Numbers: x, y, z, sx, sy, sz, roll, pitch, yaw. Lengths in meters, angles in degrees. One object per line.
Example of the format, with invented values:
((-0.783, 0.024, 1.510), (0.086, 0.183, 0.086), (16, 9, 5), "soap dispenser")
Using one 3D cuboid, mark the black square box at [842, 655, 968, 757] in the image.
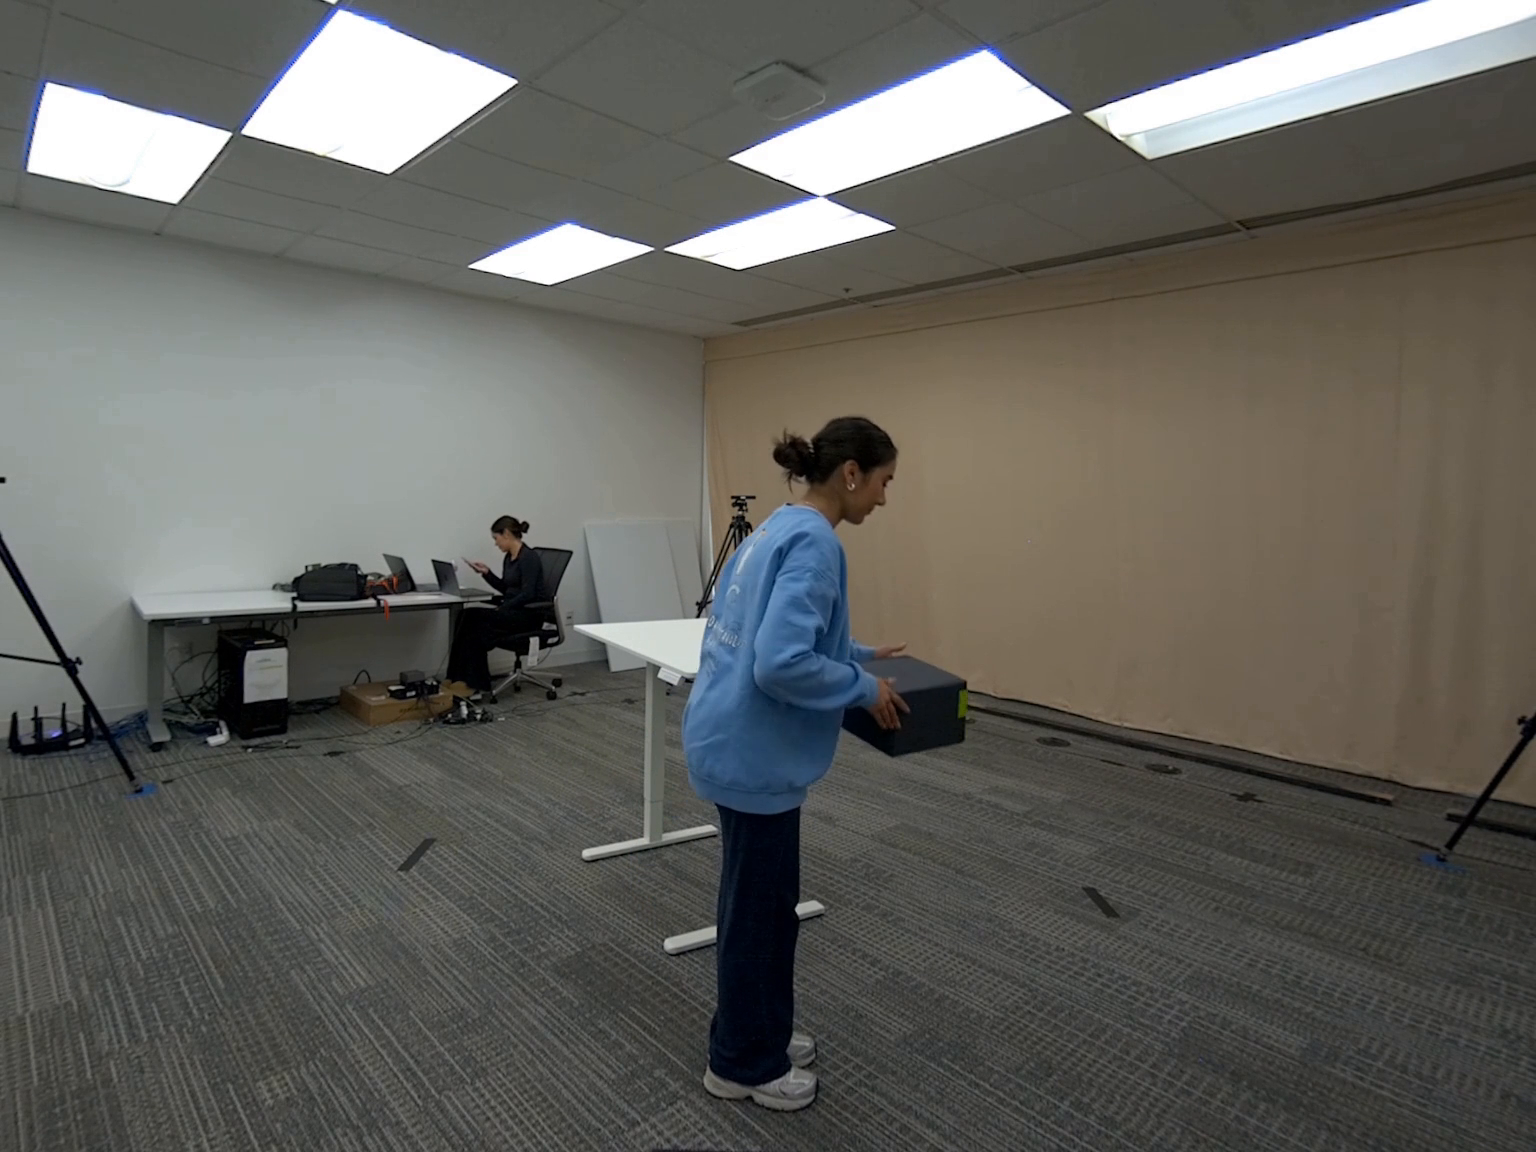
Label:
((0.313, 0.327, 2.021), (0.213, 0.155, 0.234), (-5, 12, -30), "black square box")
